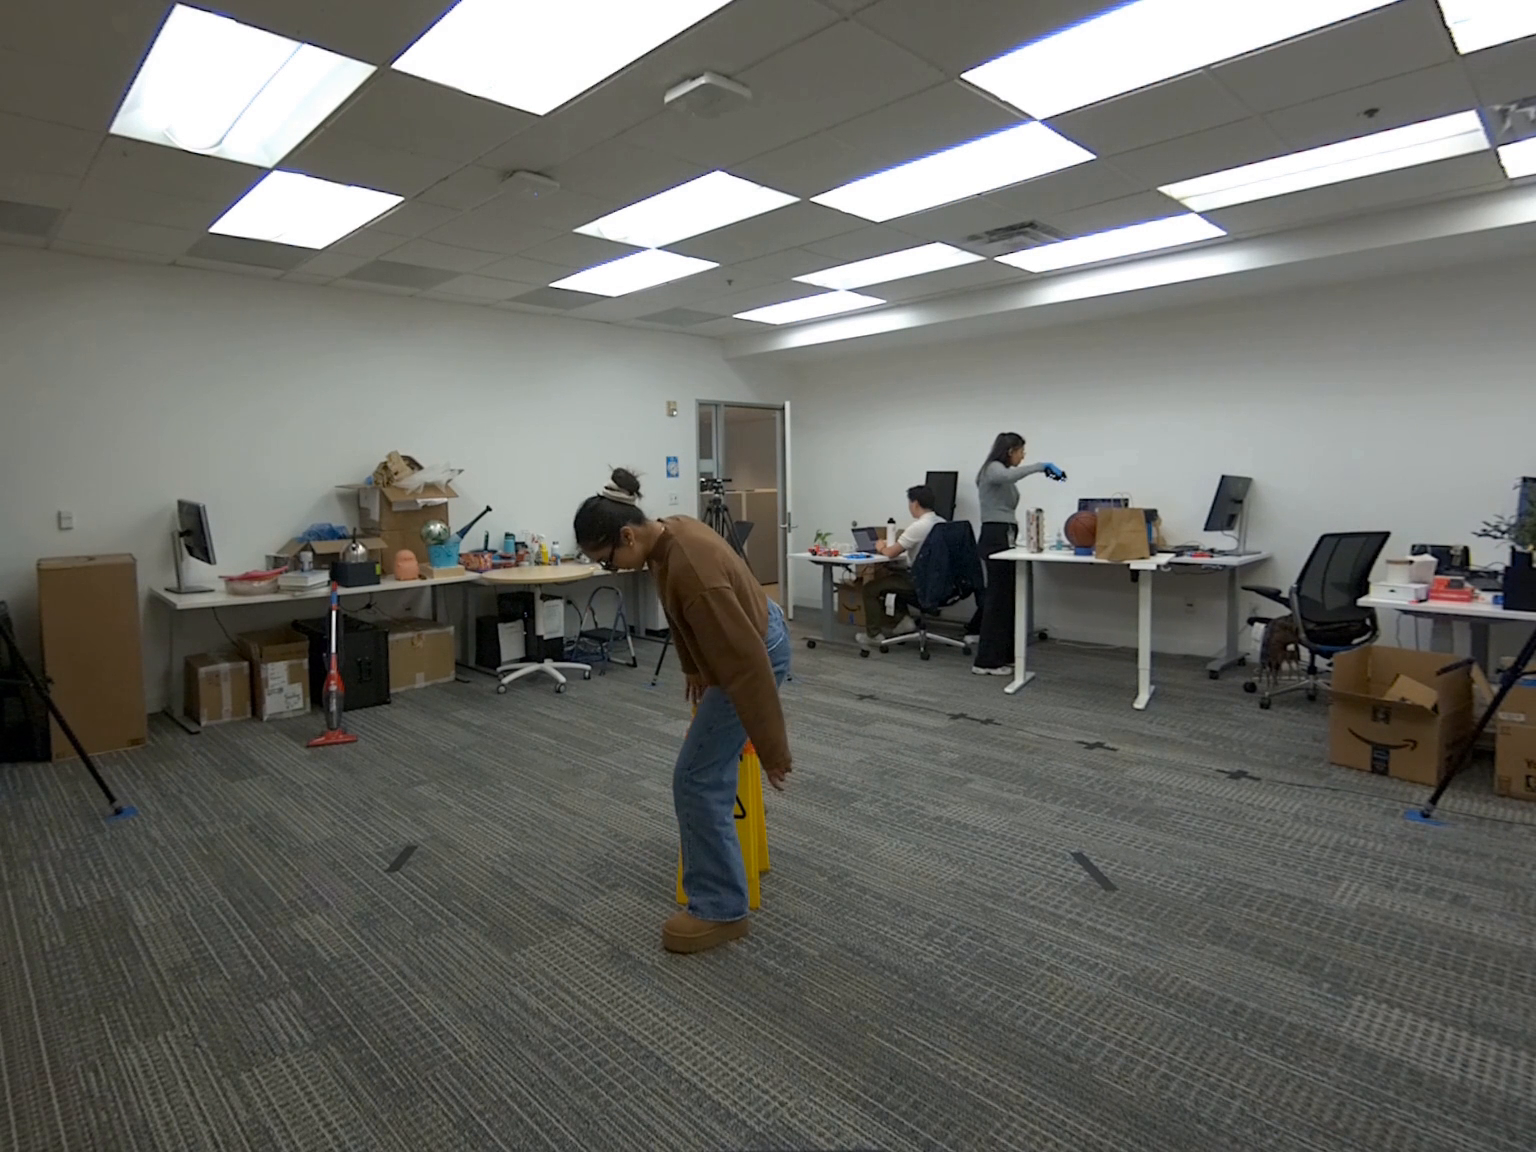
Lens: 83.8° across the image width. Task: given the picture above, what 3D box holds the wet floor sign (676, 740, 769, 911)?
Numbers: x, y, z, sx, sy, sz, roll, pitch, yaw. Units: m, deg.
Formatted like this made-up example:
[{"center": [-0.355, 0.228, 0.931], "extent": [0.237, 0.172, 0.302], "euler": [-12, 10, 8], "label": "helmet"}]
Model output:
[{"center": [-0.149, 0.749, 2.910], "extent": [0.285, 0.643, 0.288], "euler": [-1, 5, 9], "label": "wet floor sign"}]
